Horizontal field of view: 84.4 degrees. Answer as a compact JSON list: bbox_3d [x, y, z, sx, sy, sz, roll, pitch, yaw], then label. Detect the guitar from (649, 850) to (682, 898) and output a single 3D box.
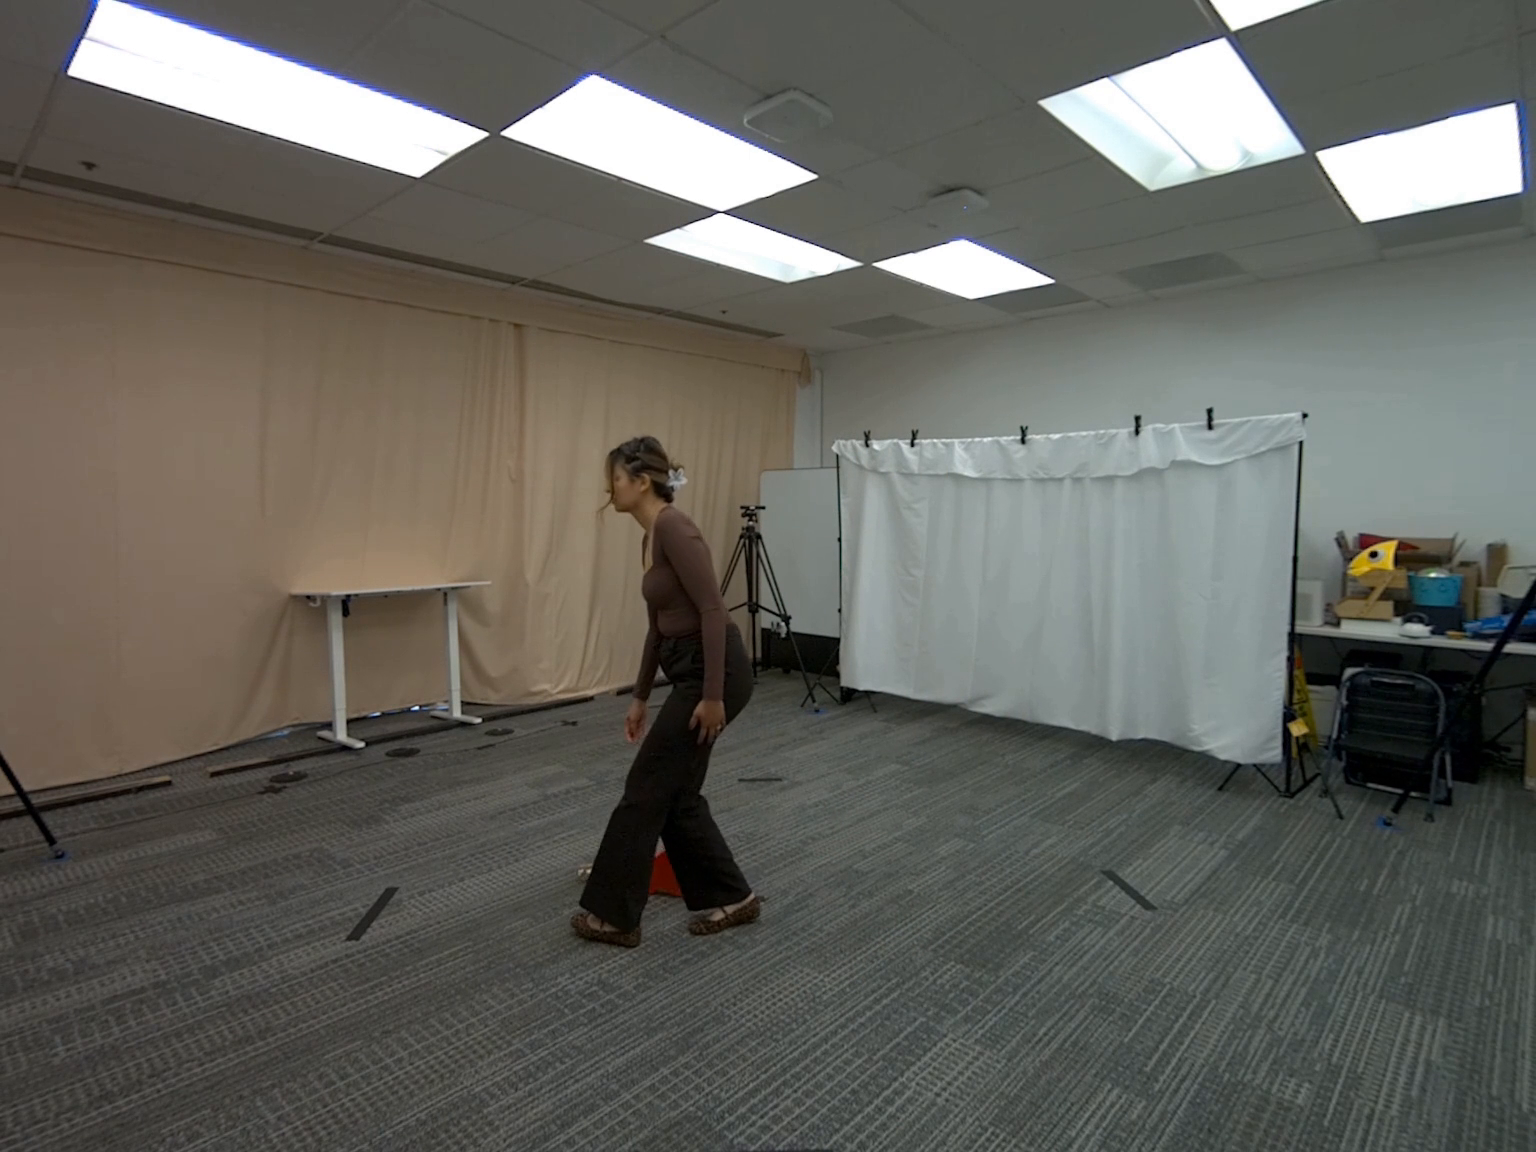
[{"bbox_3d":[-0.467,1.092,3.061,0.503,0.193,0.070,-17,-3,14],"label":"guitar"}]
